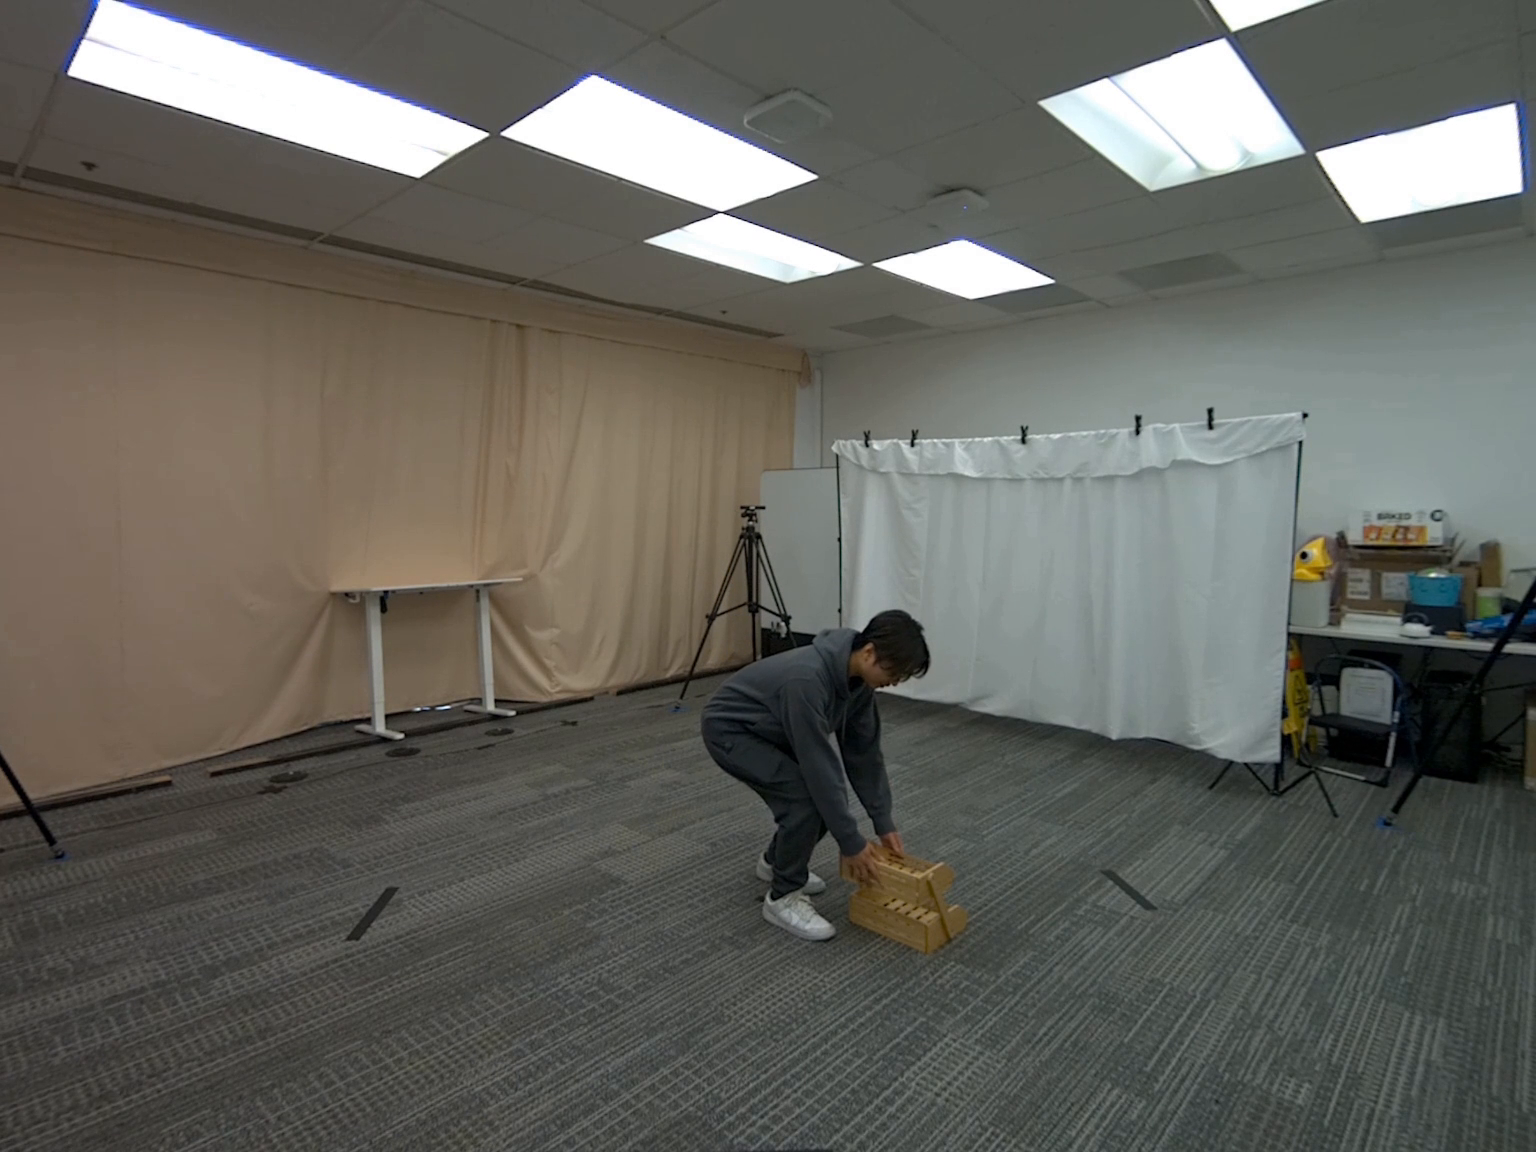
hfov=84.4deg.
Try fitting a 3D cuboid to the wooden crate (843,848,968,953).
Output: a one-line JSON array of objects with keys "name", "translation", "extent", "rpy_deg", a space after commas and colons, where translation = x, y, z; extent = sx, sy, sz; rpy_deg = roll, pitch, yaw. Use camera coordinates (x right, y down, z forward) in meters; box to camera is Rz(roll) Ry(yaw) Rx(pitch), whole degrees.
[{"name": "wooden crate", "translation": [0.452, 1.025, 2.779], "extent": [0.335, 0.272, 0.293], "rpy_deg": [3, 6, 43]}]
